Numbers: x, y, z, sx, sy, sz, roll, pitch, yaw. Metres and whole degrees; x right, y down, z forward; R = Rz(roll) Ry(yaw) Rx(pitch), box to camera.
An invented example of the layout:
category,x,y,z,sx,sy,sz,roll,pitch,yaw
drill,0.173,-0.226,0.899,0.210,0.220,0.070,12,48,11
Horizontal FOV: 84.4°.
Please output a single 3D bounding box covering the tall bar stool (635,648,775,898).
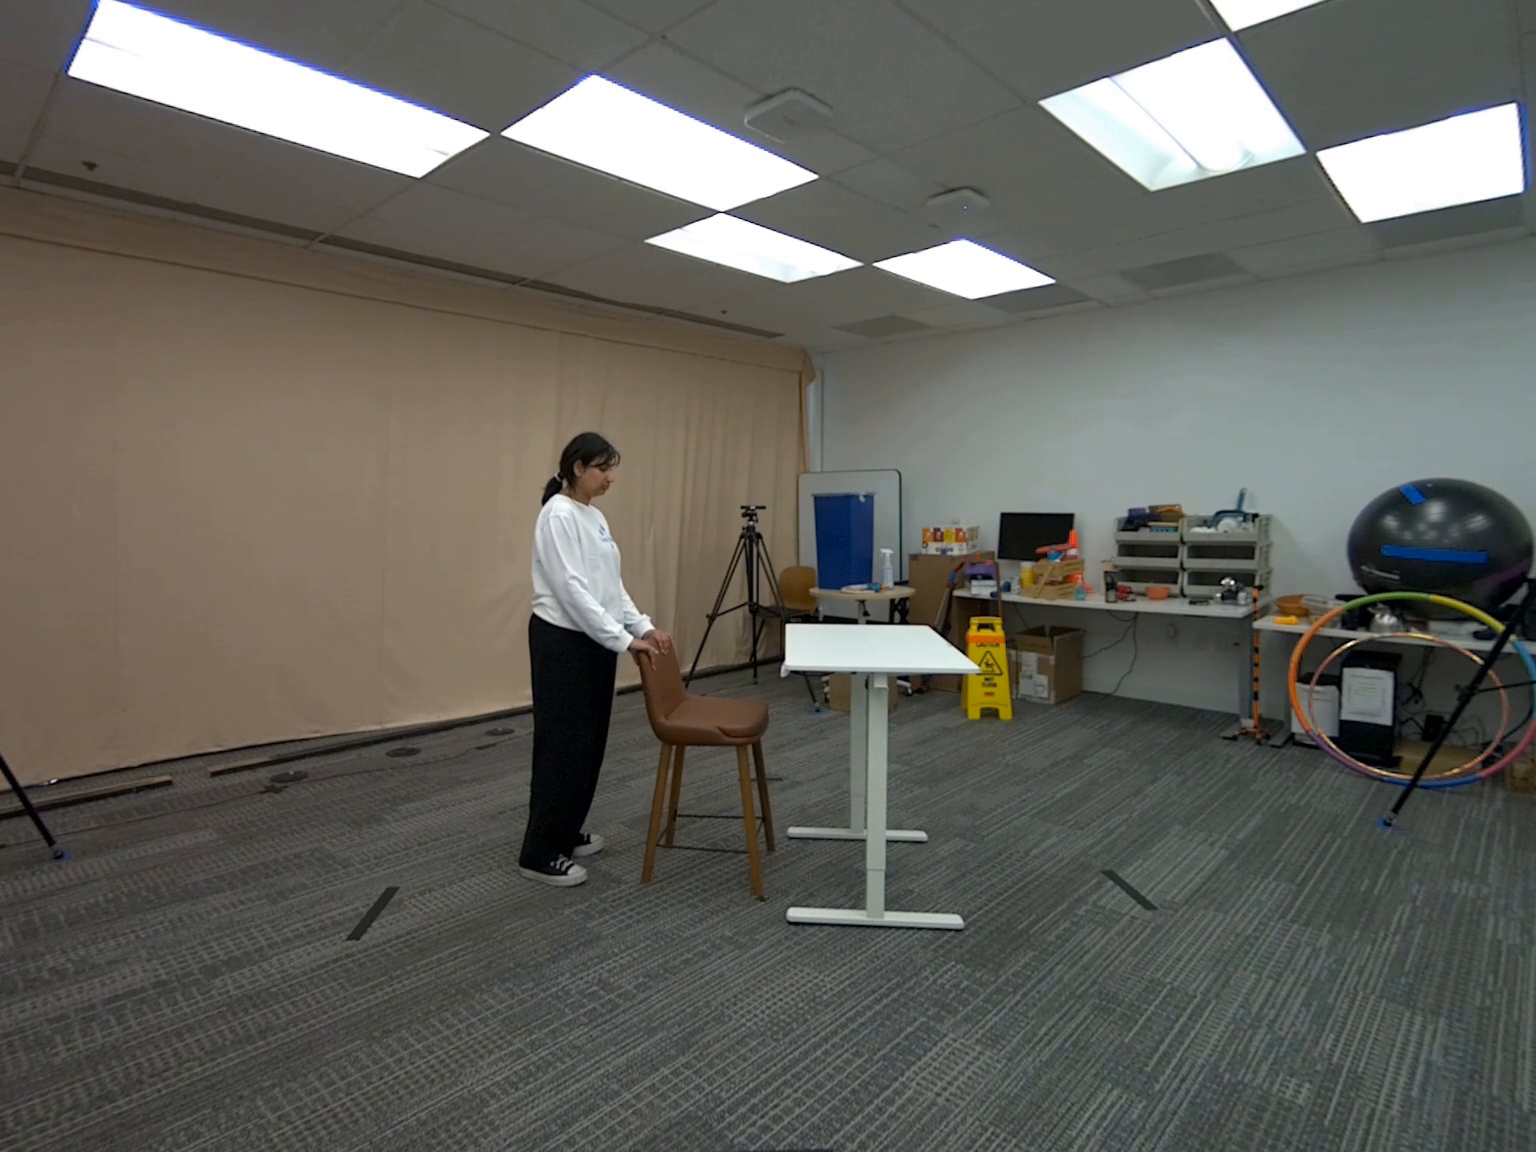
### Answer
category,x,y,z,sx,sy,sz,roll,pitch,yaw
tall bar stool,-0.223,0.687,3.219,0.473,0.888,0.452,-2,3,10
